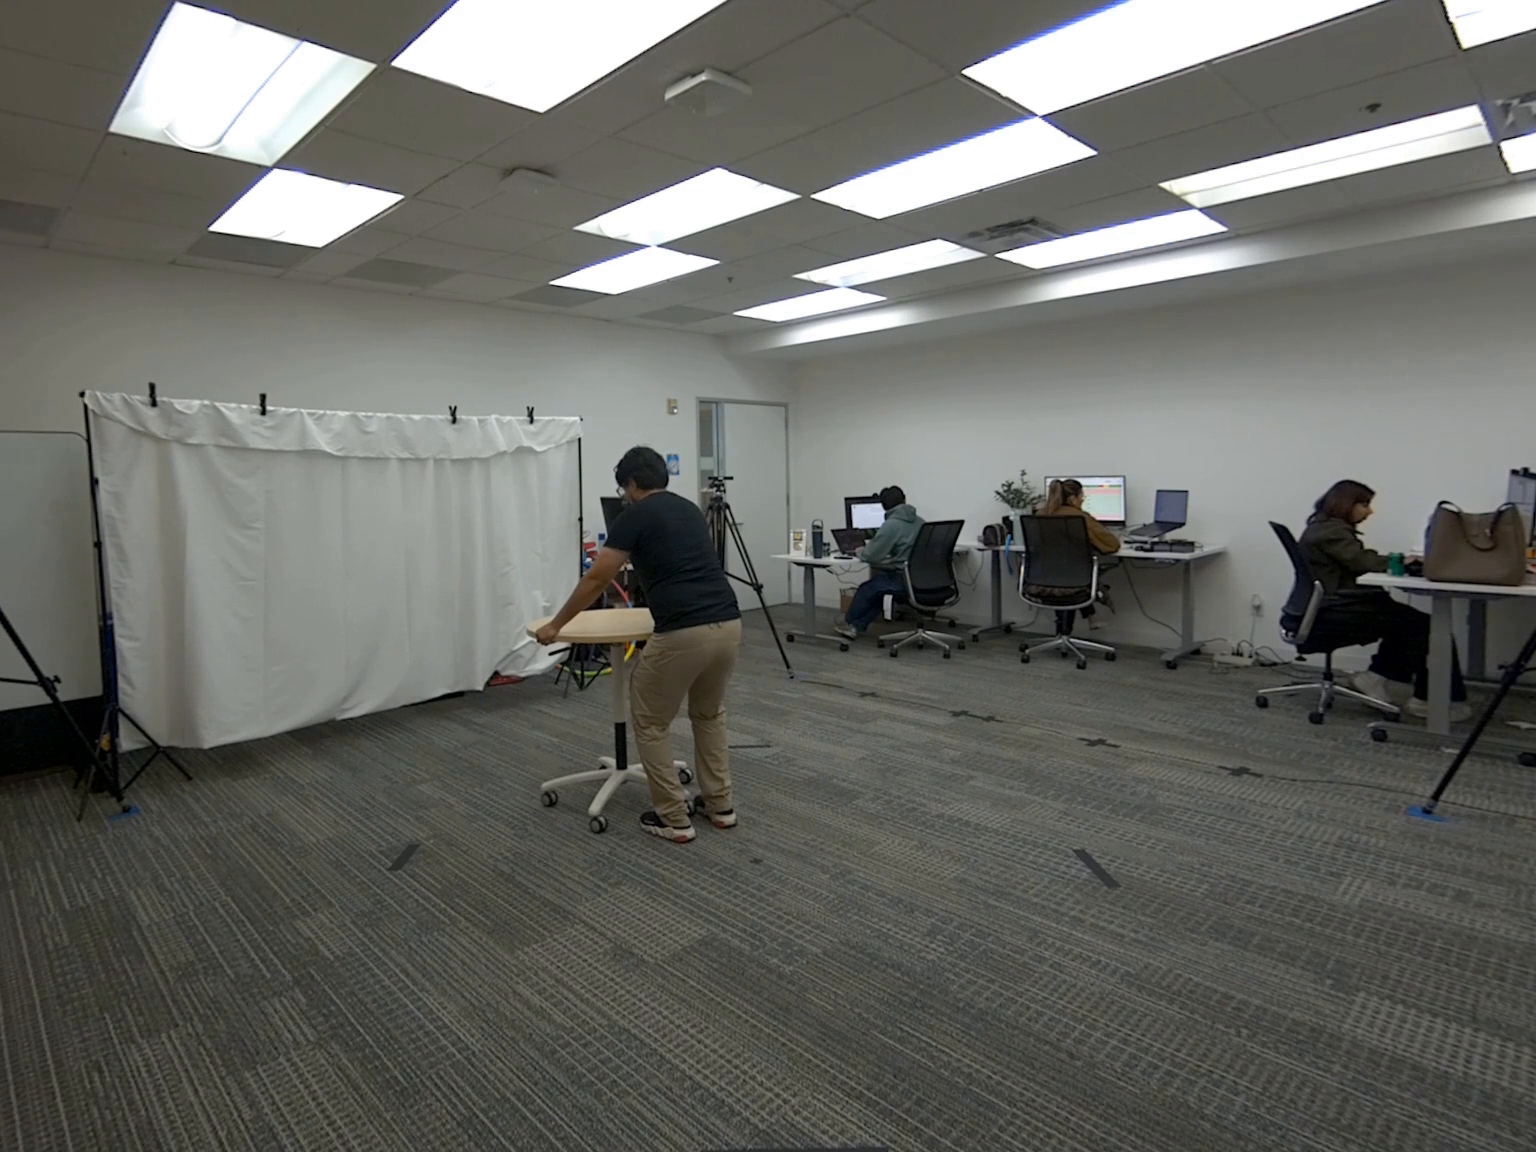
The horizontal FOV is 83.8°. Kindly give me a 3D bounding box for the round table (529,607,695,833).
[{"bbox_3d":[-0.651,0.582,3.697,0.784,0.784,0.789,-2,5,-1],"label":"round table"}]
